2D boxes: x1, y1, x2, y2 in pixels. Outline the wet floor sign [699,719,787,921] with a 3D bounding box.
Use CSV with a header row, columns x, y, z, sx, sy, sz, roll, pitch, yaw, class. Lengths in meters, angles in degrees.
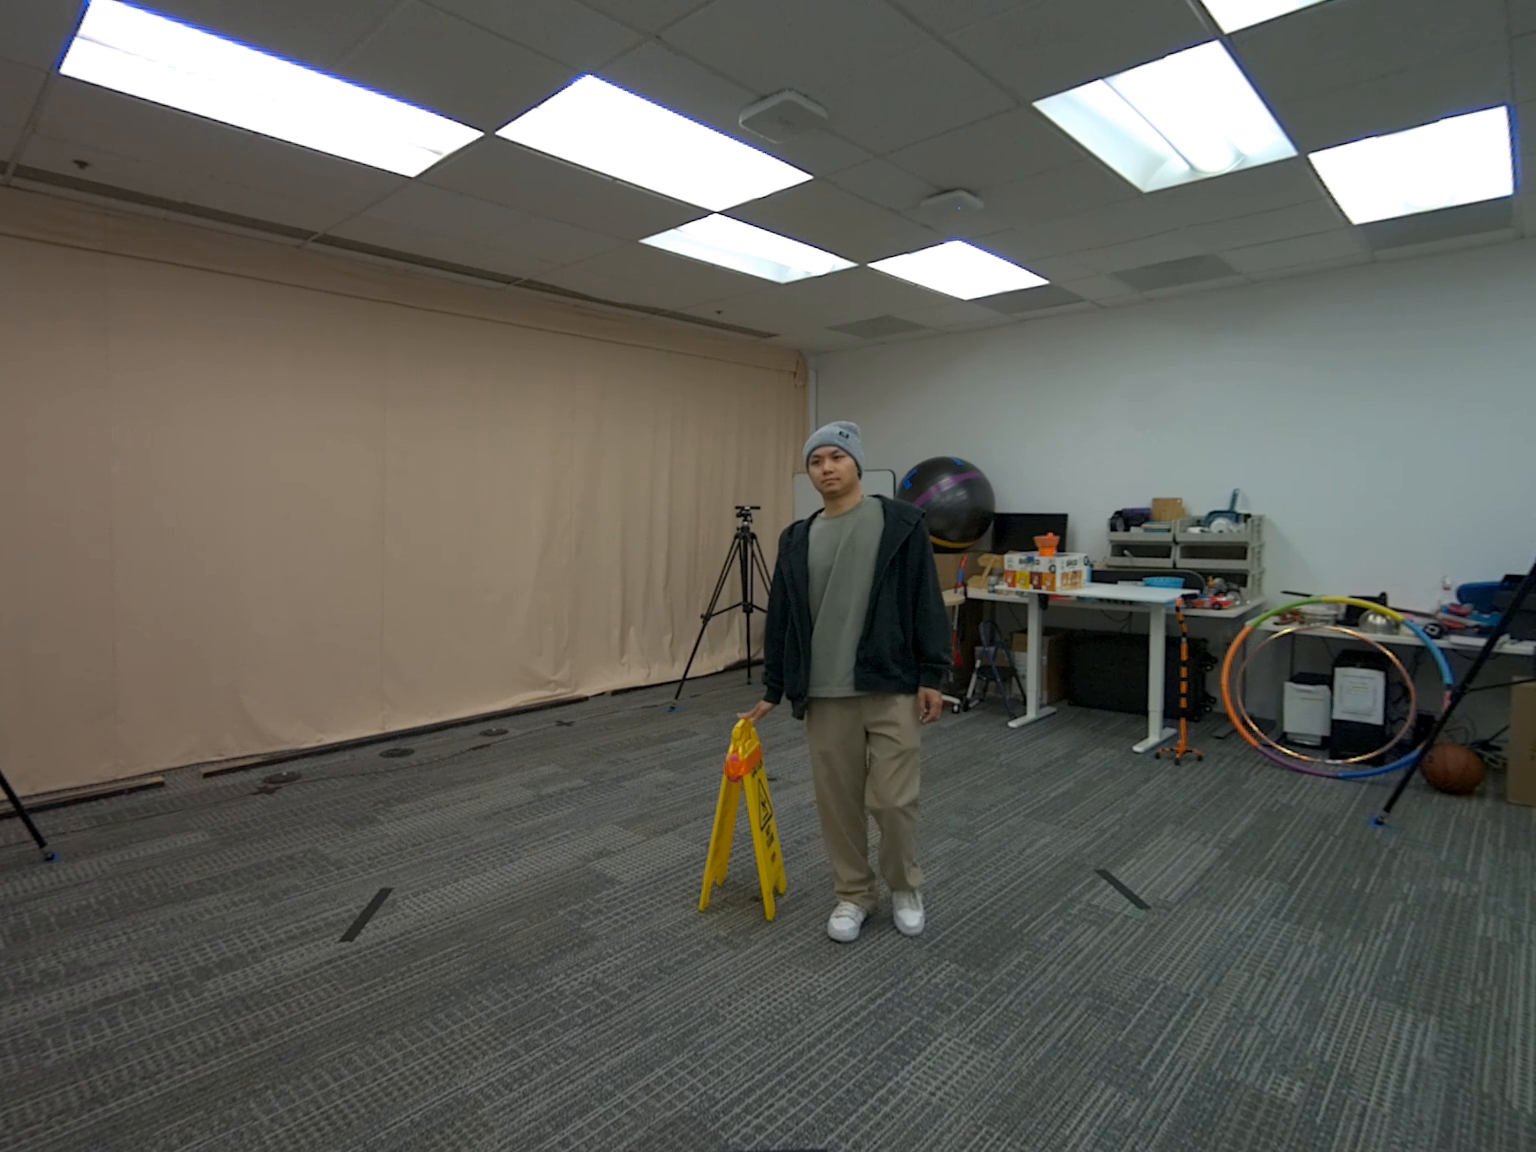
x,y,z,sx,sy,sz,roll,pitch,yaw,class
-0.086,0.821,2.967,0.294,0.645,0.278,0,2,15,wet floor sign
